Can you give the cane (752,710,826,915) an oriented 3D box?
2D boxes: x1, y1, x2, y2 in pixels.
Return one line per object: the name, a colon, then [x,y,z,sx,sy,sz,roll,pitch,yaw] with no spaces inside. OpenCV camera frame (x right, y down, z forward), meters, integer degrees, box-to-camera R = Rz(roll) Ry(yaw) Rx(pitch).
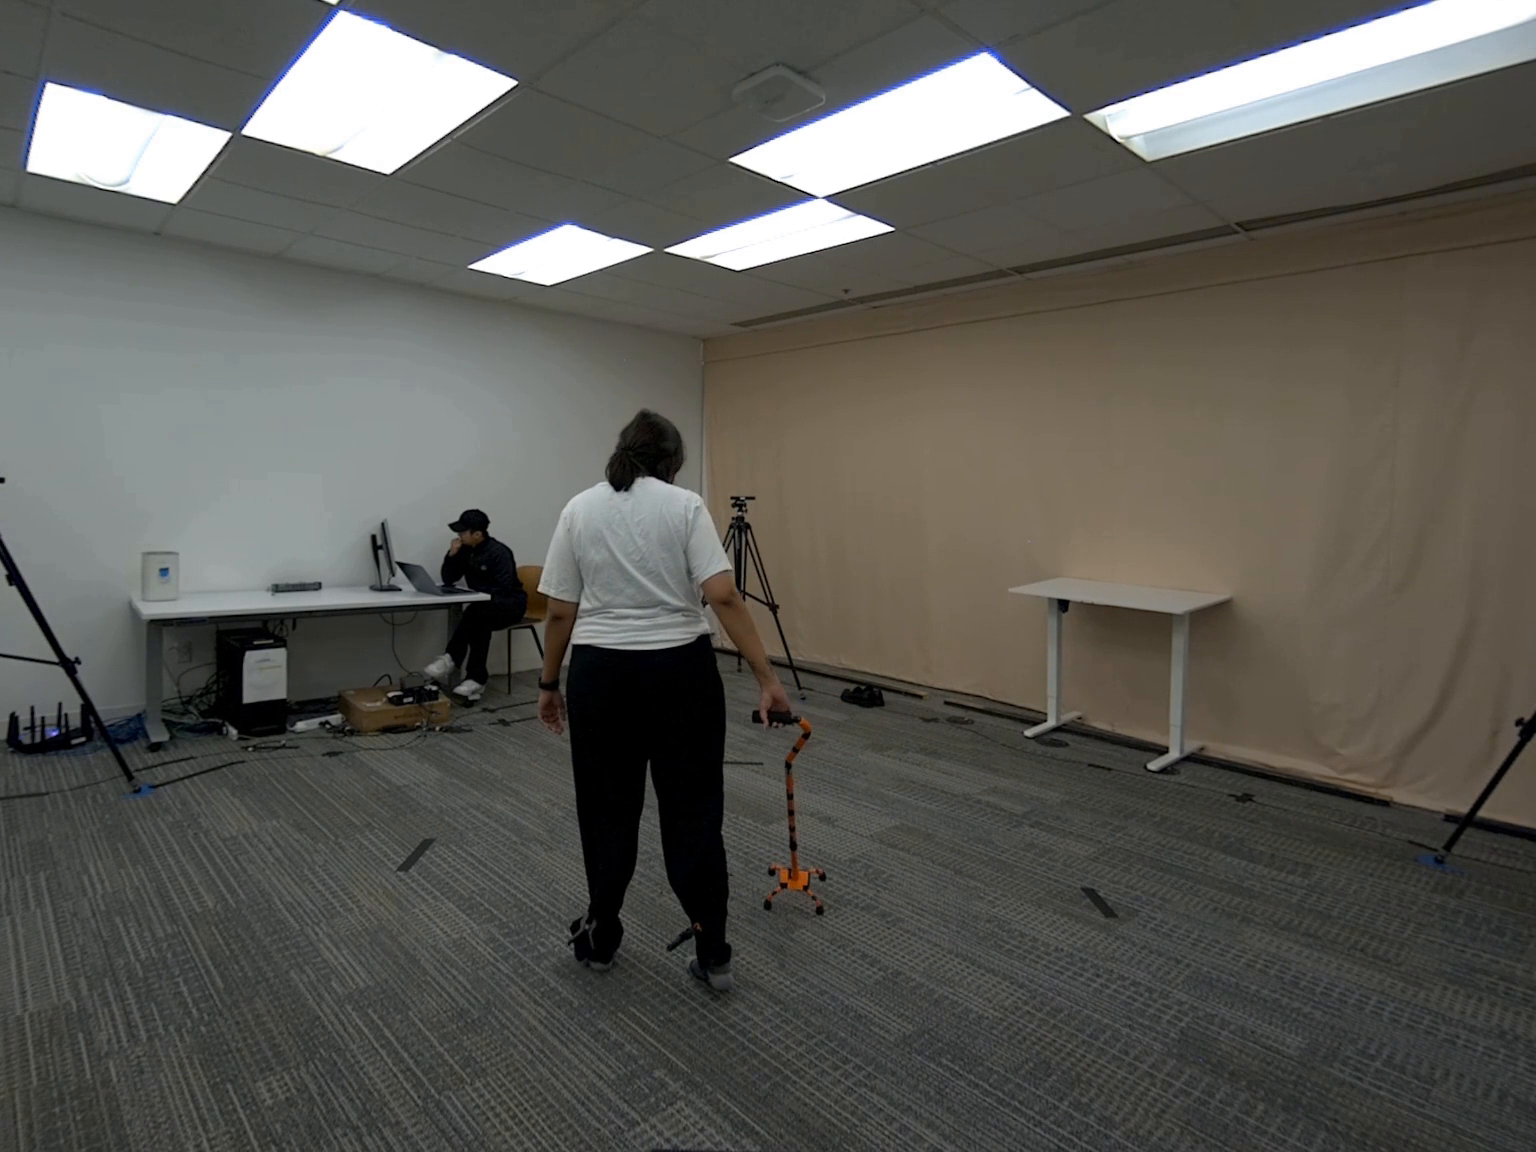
cane: [0.066,0.745,2.612,0.208,0.887,0.154,3,39,7]
